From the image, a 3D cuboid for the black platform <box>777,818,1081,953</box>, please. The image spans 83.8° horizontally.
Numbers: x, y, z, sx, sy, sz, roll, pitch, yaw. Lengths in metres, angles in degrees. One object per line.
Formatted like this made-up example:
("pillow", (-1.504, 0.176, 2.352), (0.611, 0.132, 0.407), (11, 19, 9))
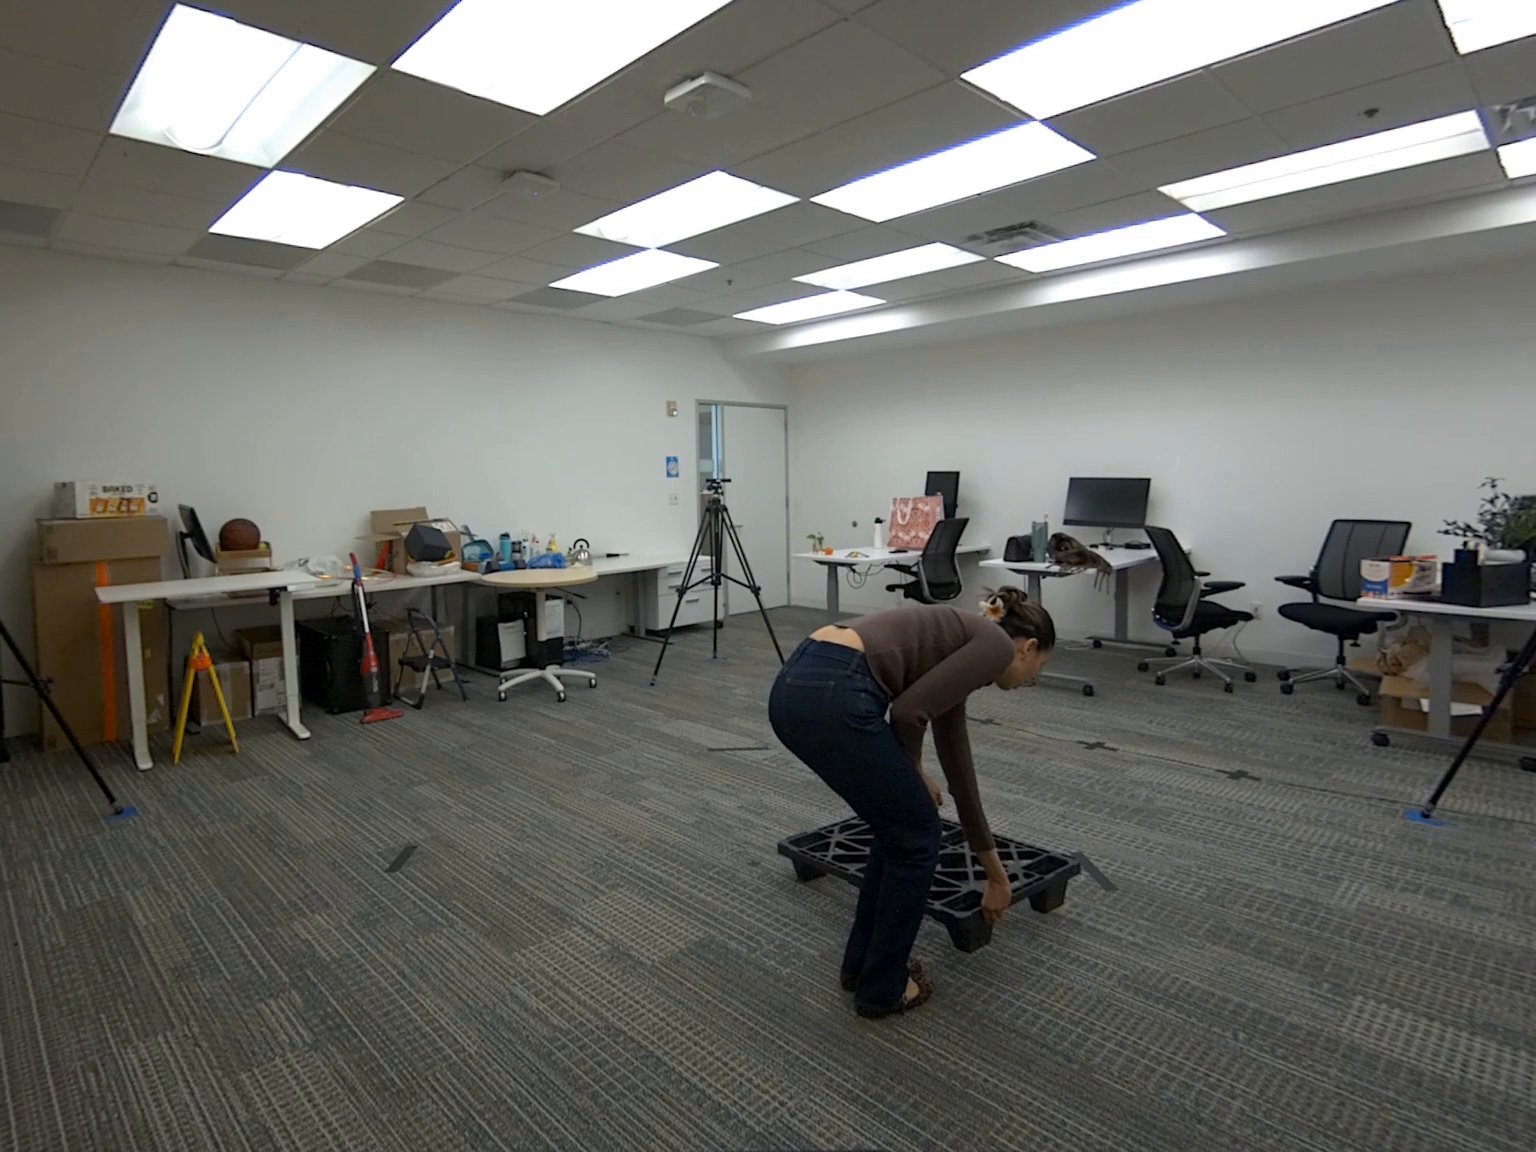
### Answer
("black platform", (0.512, 0.974, 2.821), (0.590, 0.143, 0.827), (-6, 4, -37))
